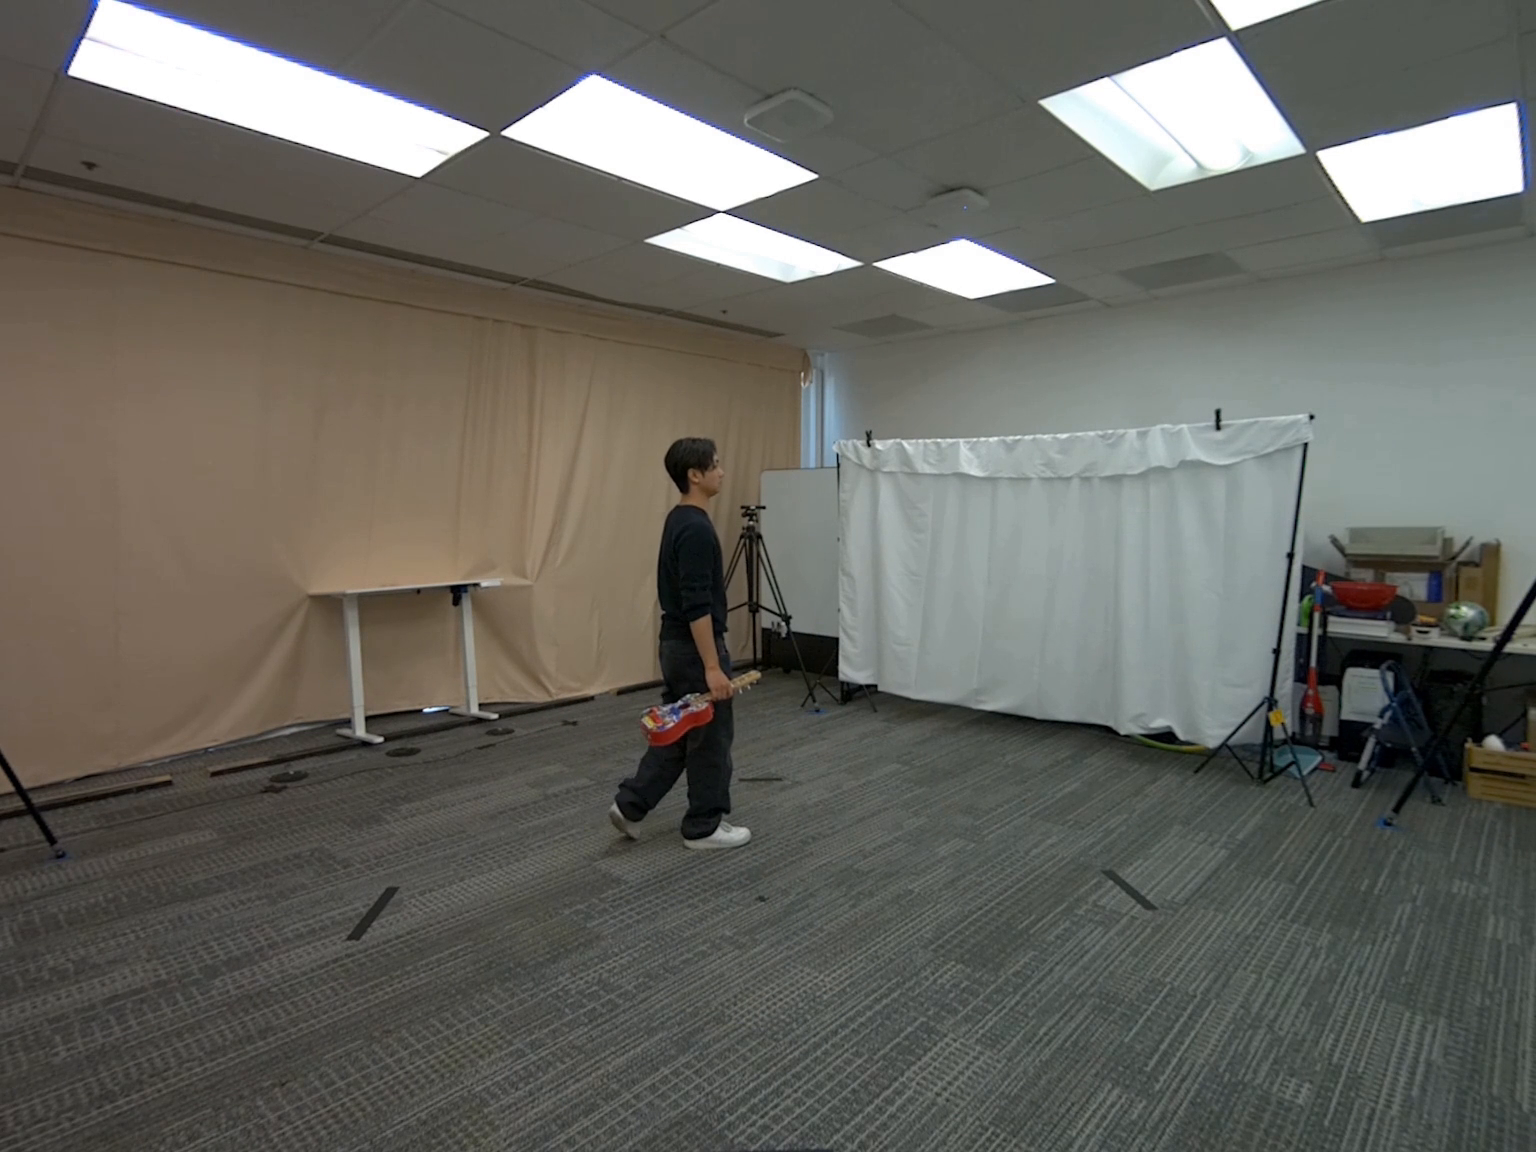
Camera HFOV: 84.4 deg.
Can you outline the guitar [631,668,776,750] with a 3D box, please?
[{"bbox_3d":[-0.242,0.486,3.130,0.492,0.069,0.198,-18,20,-14],"label":"guitar"}]
